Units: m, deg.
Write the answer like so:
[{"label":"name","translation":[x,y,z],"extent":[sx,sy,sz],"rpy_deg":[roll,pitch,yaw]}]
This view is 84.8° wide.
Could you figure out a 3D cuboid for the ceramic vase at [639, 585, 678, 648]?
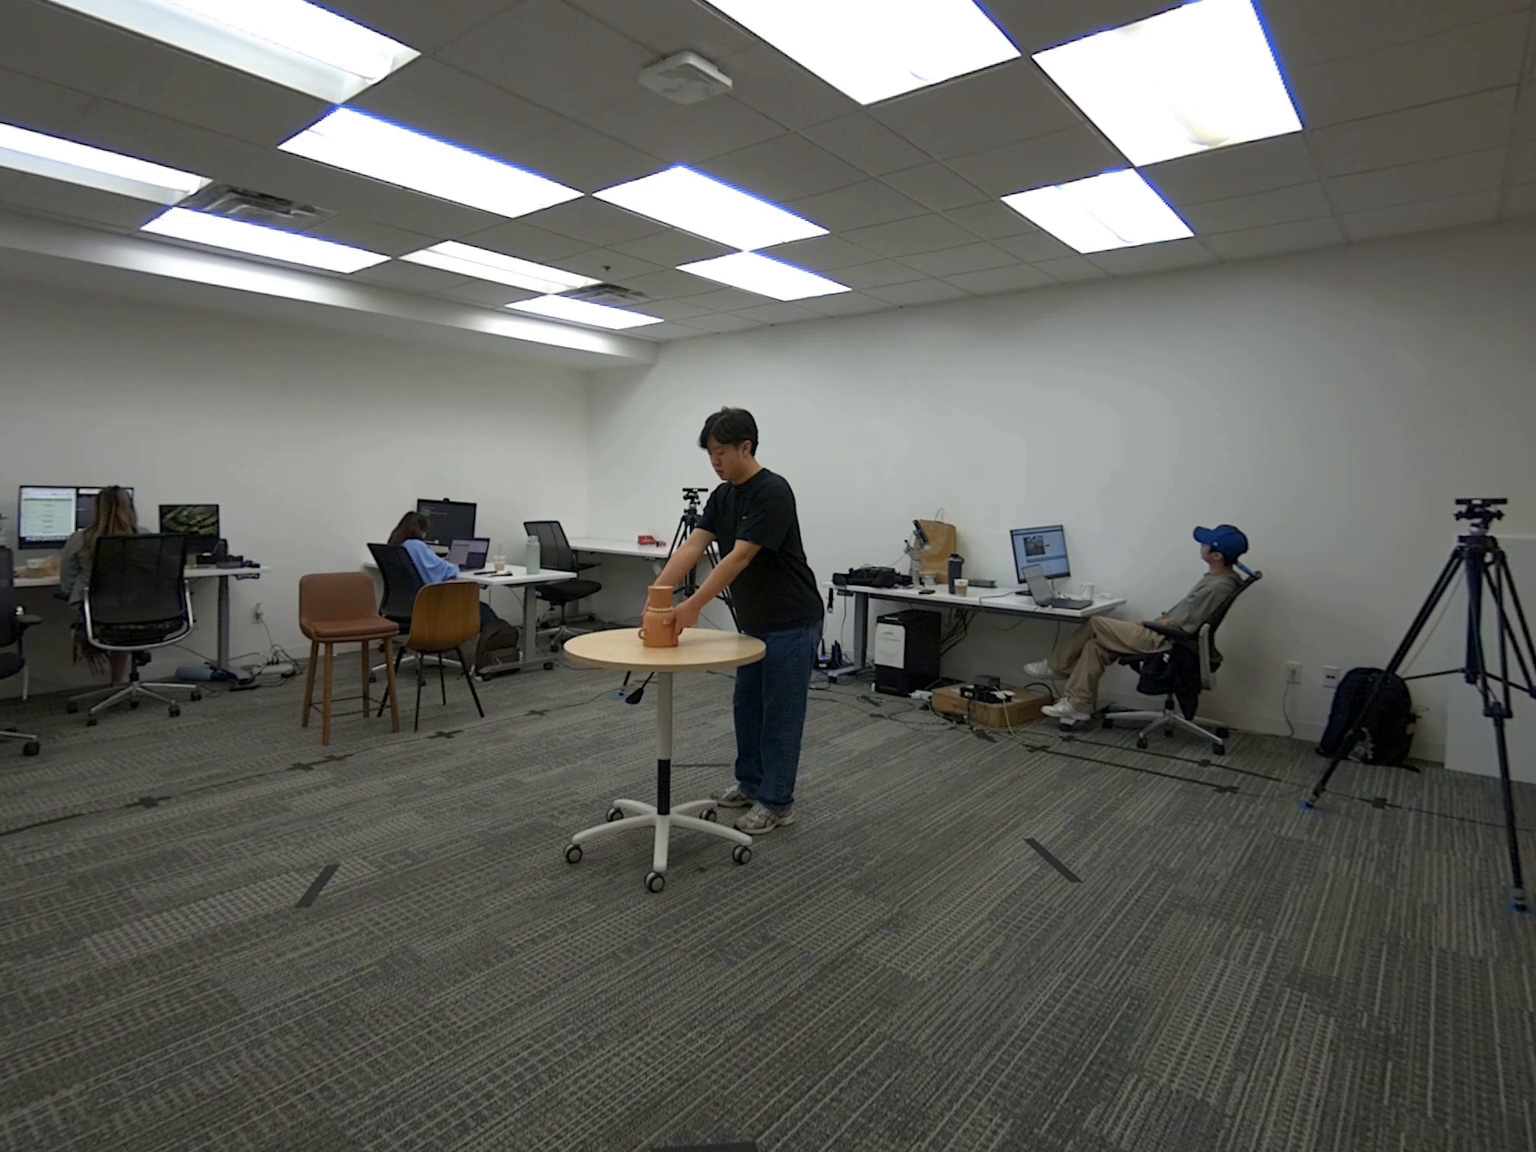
[{"label":"ceramic vase","translation":[-0.419,0.147,3.229],"extent":[0.136,0.220,0.157],"rpy_deg":[2,1,11]}]
